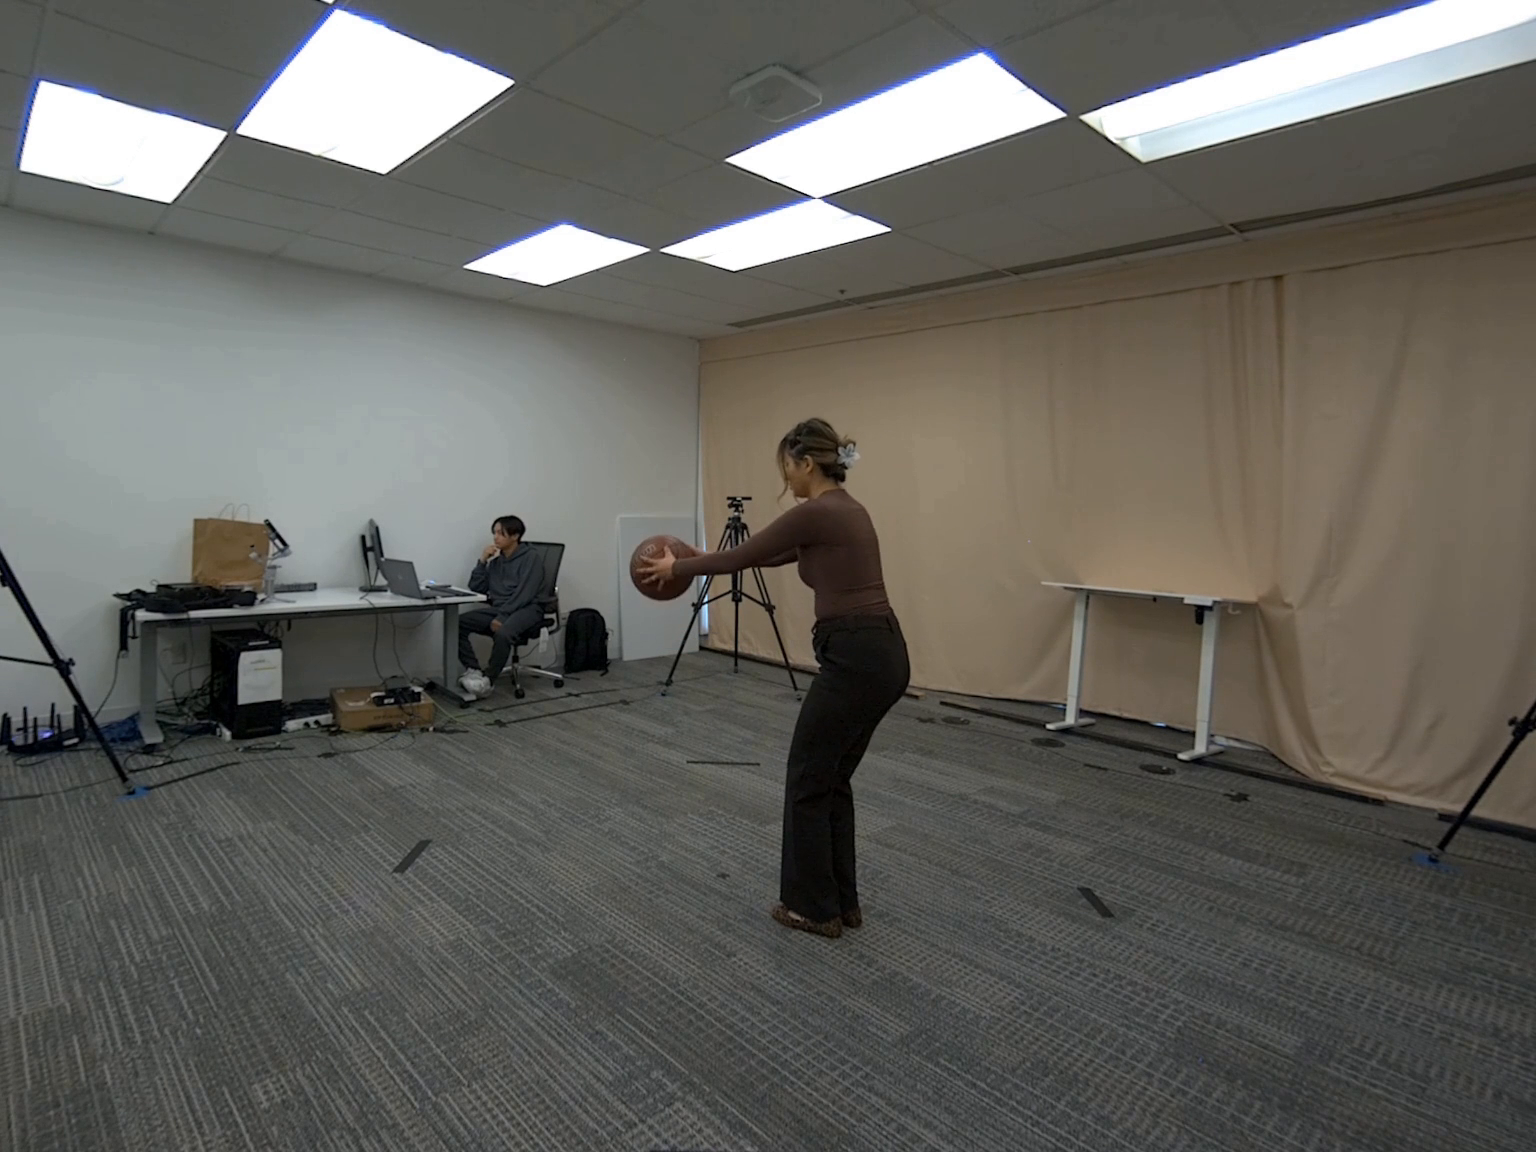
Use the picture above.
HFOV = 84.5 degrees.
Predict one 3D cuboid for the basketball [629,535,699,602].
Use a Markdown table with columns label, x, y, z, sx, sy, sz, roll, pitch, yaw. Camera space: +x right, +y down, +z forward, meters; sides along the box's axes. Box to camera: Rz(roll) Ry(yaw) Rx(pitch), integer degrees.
| label | x | y | z | sx | sy | sz | roll | pitch | yaw |
| --- | --- | --- | --- | --- | --- | --- | --- | --- | --- |
| basketball | -0.382 | -0.023 | 3.043 | 0.236 | 0.235 | 0.237 | 1 | 4 | -1 |
